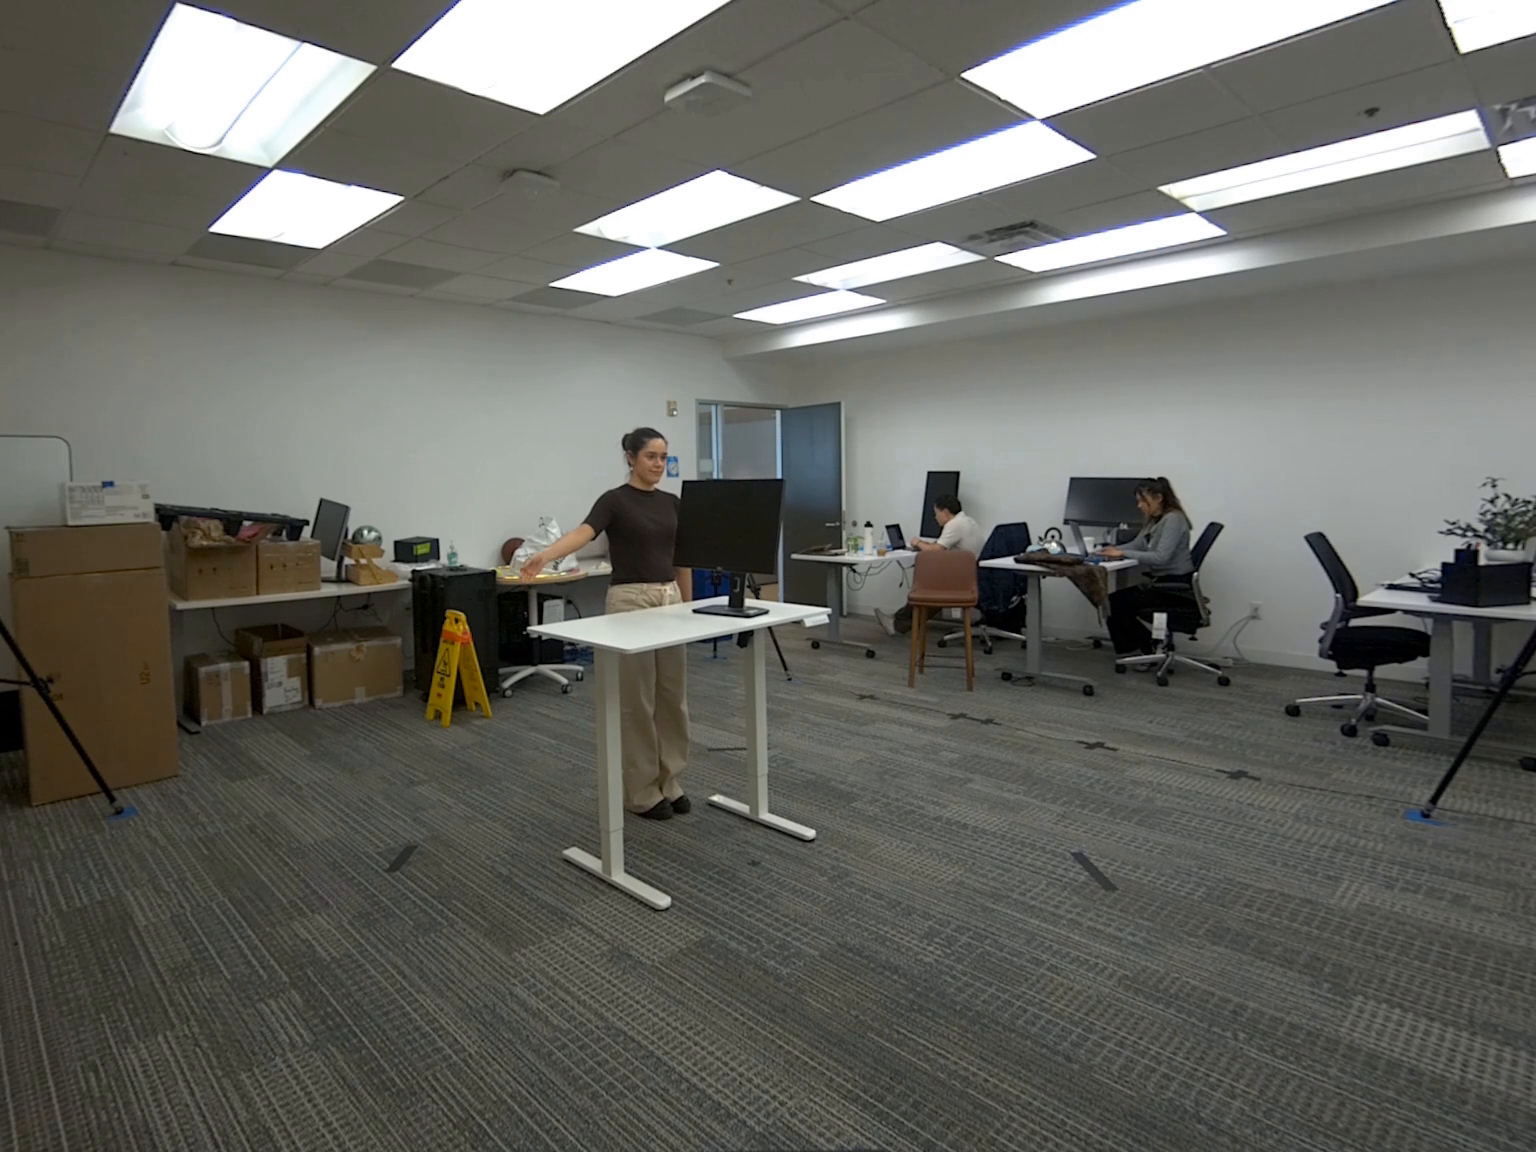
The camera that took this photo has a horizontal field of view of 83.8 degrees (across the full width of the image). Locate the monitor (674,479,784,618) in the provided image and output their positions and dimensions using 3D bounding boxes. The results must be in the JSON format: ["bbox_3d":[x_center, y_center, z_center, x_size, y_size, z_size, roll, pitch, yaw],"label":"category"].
[{"bbox_3d":[-0.141,-0.110,3.280,0.556,0.520,0.182,4,6,43],"label":"monitor"}]
